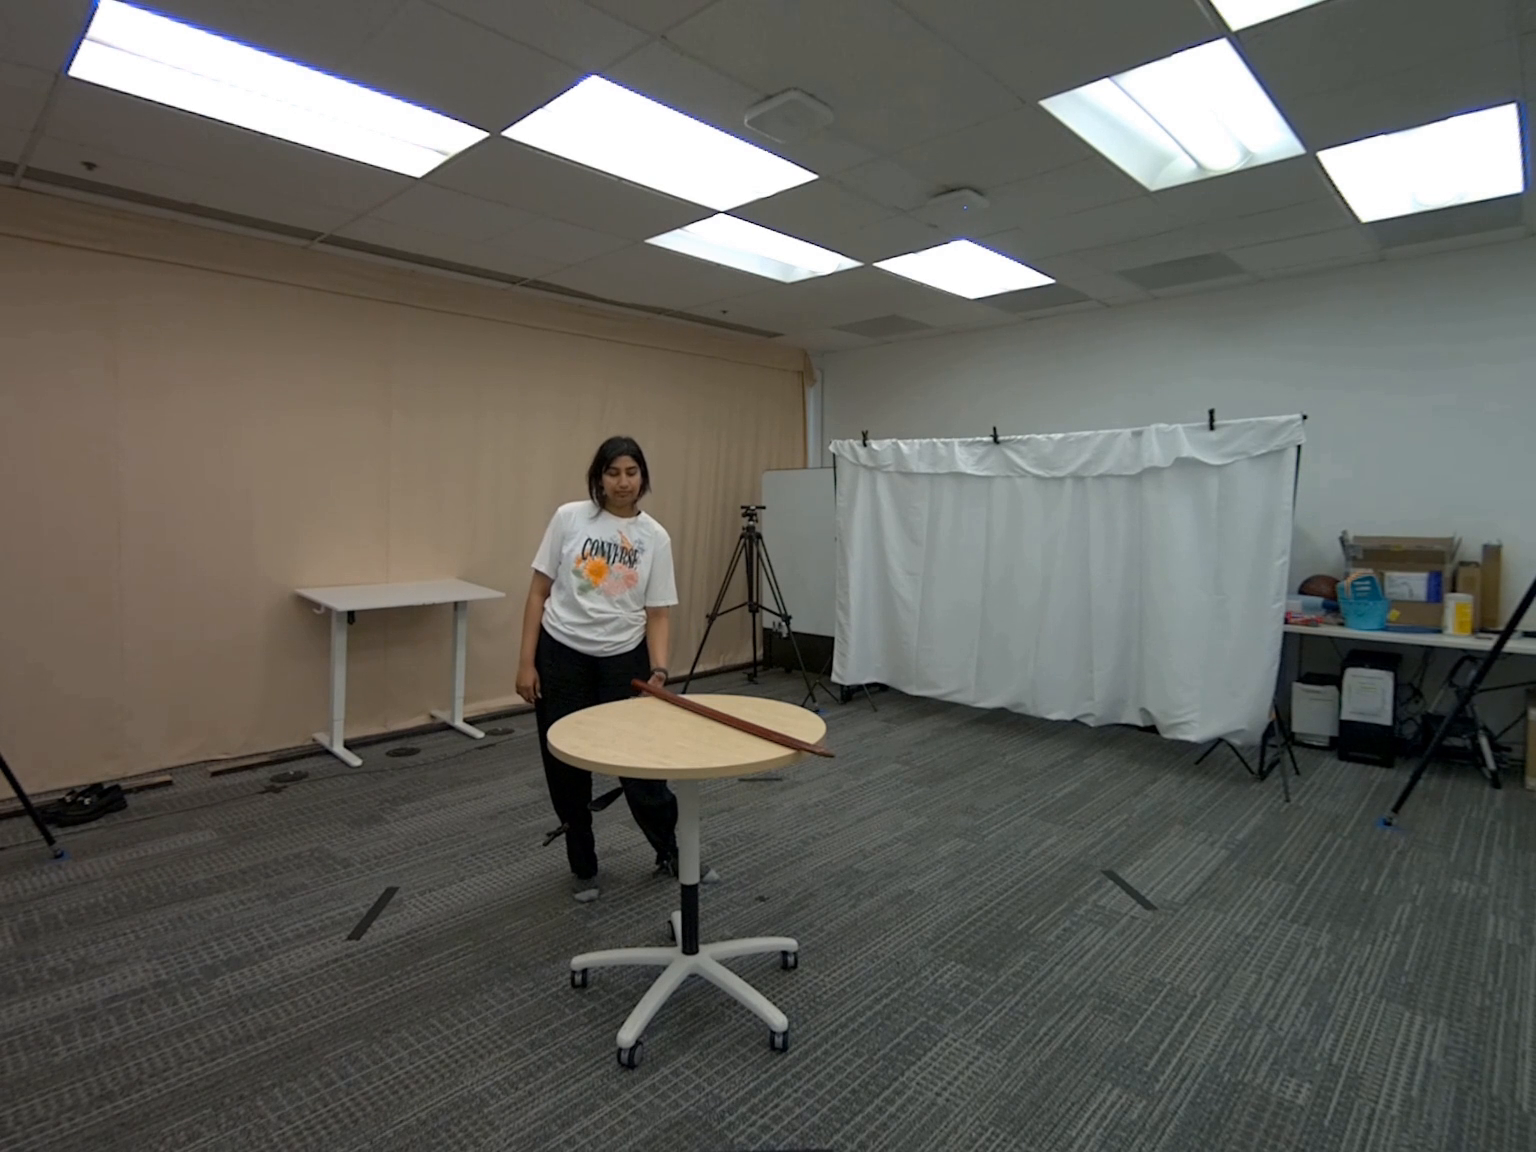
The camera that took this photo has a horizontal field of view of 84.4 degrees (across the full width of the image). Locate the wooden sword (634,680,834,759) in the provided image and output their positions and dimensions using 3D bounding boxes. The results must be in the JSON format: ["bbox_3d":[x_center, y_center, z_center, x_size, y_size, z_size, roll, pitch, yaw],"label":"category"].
[{"bbox_3d":[-0.134,0.393,2.458,0.024,0.050,1.055,-49,25,-19],"label":"wooden sword"}]
